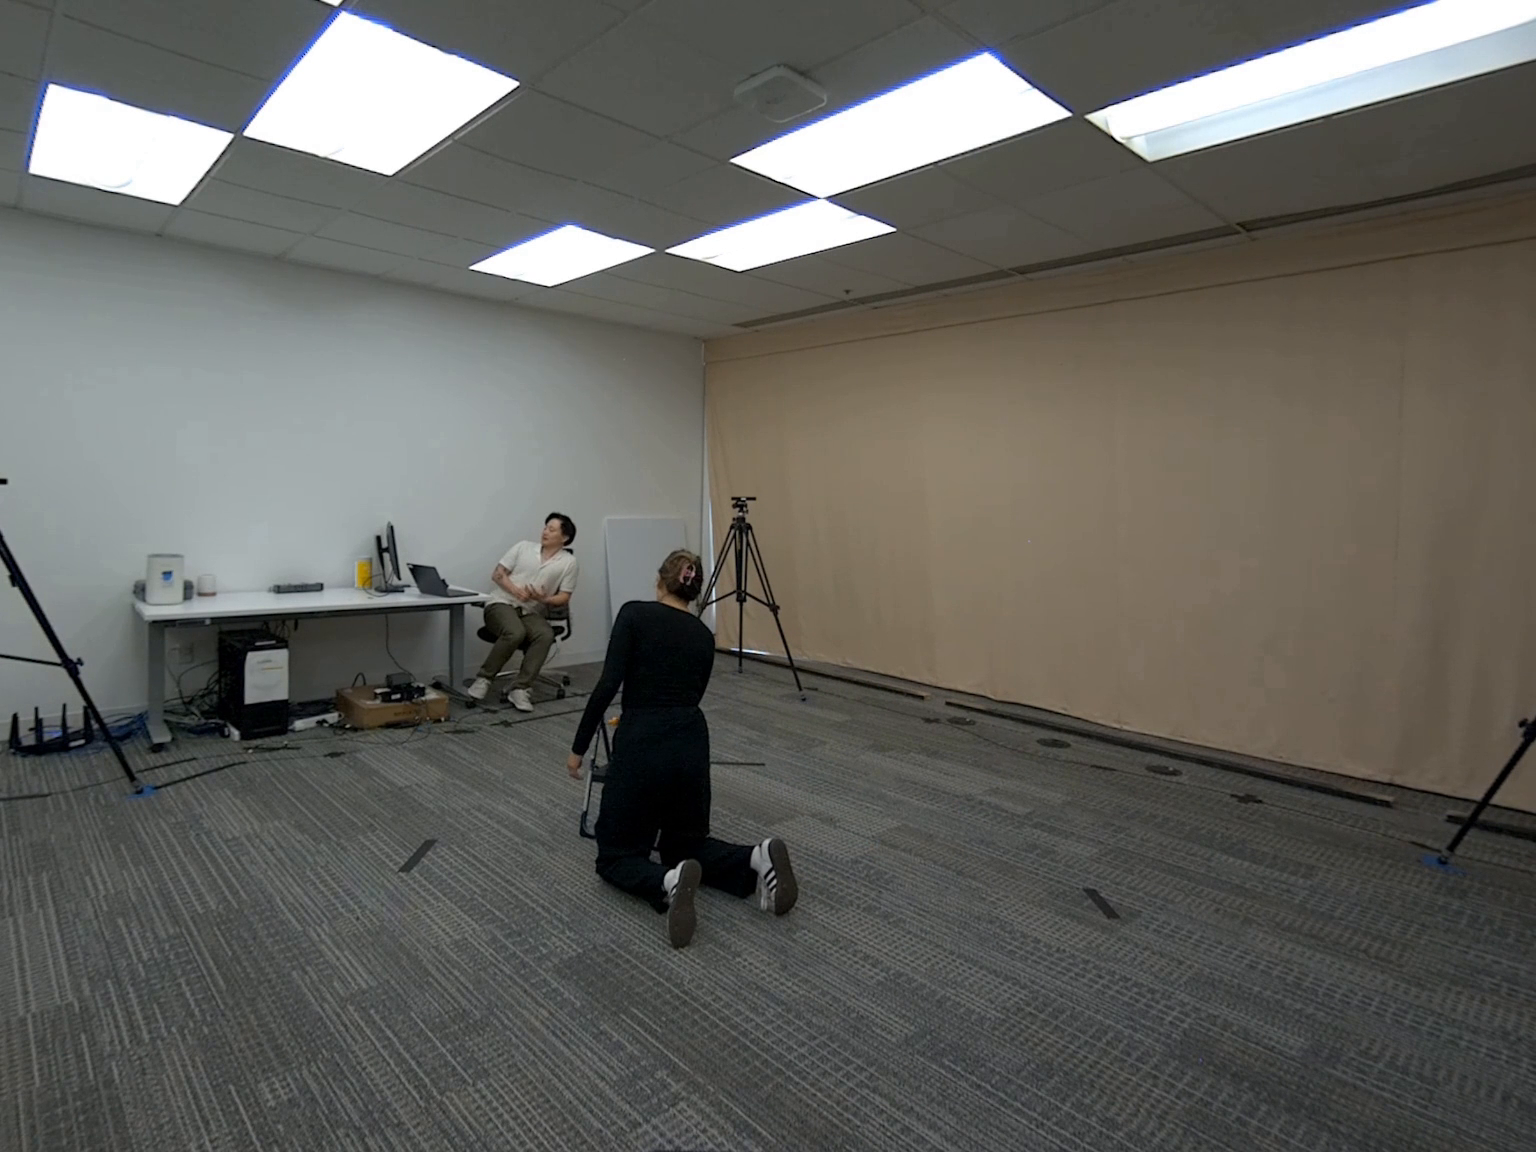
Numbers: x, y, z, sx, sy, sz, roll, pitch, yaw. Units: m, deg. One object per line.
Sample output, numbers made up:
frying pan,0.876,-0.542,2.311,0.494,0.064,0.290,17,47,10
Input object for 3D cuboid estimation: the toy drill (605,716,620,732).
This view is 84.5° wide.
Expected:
toy drill,-0.631,0.634,3.494,0.172,0.060,0.146,-8,21,21
